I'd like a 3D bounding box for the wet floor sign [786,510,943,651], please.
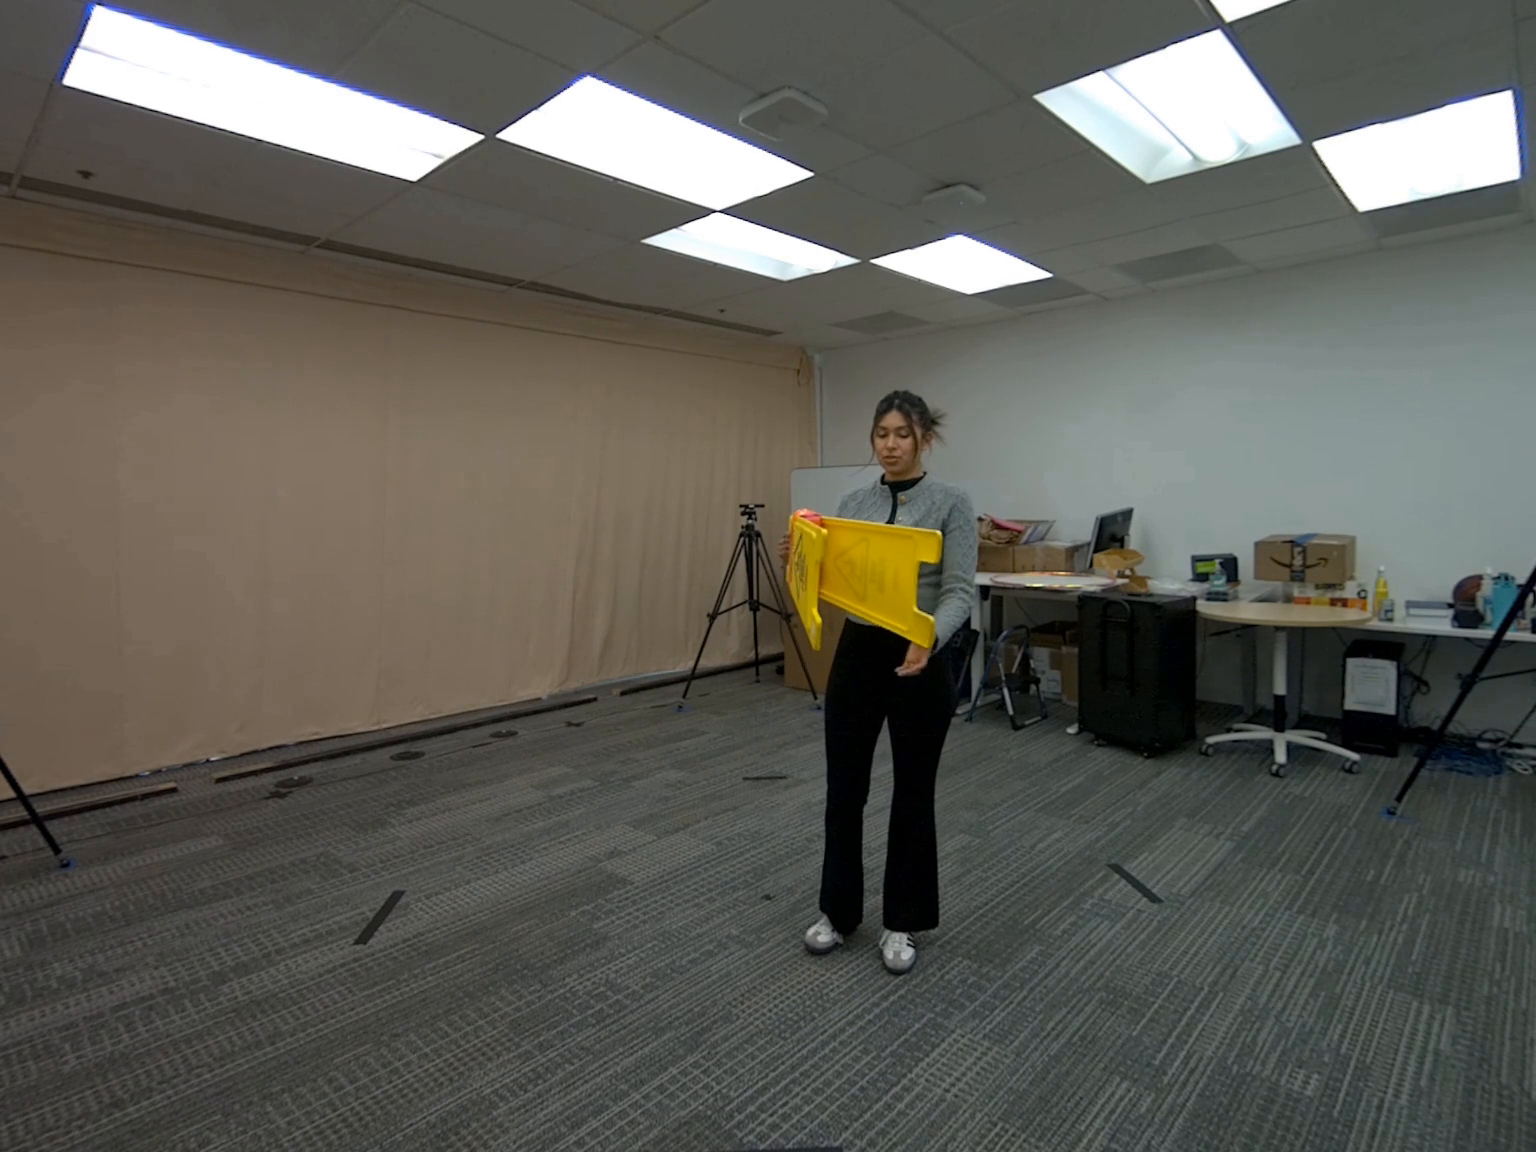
[{"bbox_3d":[0.164,-0.023,2.234,0.285,0.280,0.661,-1,11,-17],"label":"wet floor sign"}]
